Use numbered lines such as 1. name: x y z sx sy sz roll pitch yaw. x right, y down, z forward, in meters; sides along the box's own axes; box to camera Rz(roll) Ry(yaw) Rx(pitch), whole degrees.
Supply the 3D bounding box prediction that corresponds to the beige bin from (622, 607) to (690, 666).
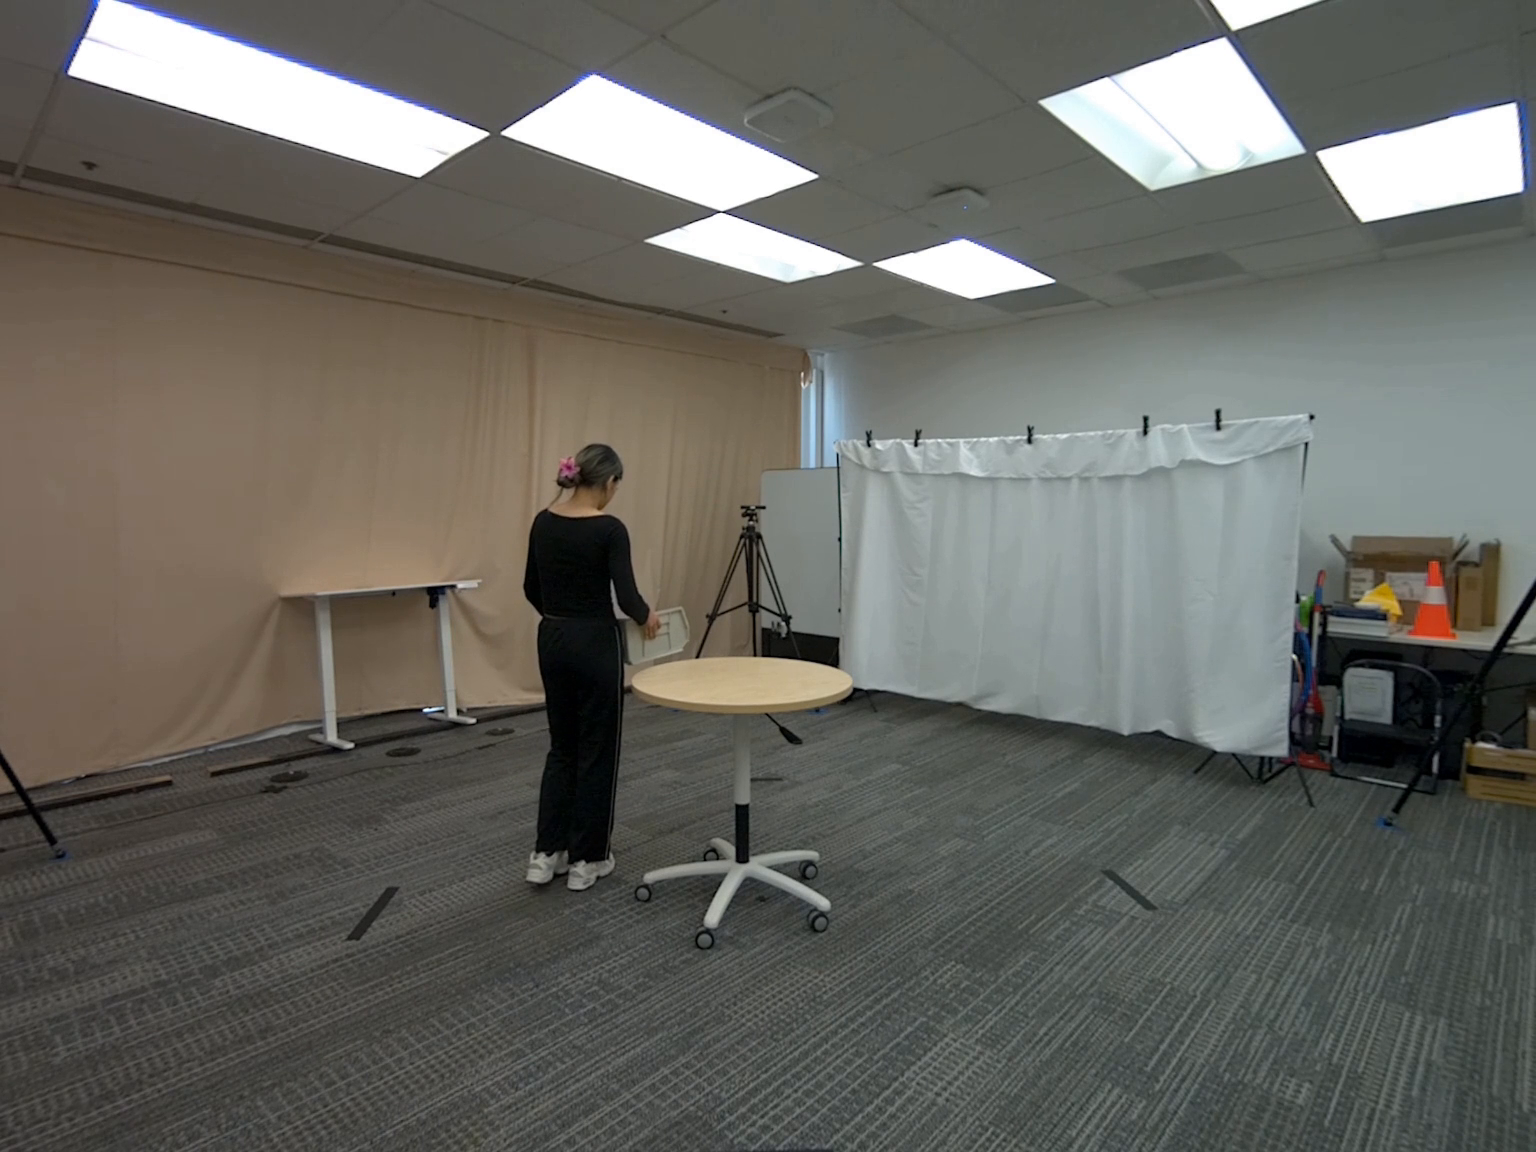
1. beige bin: -0.598 0.234 3.407 0.434 0.189 0.367 -5 3 33
